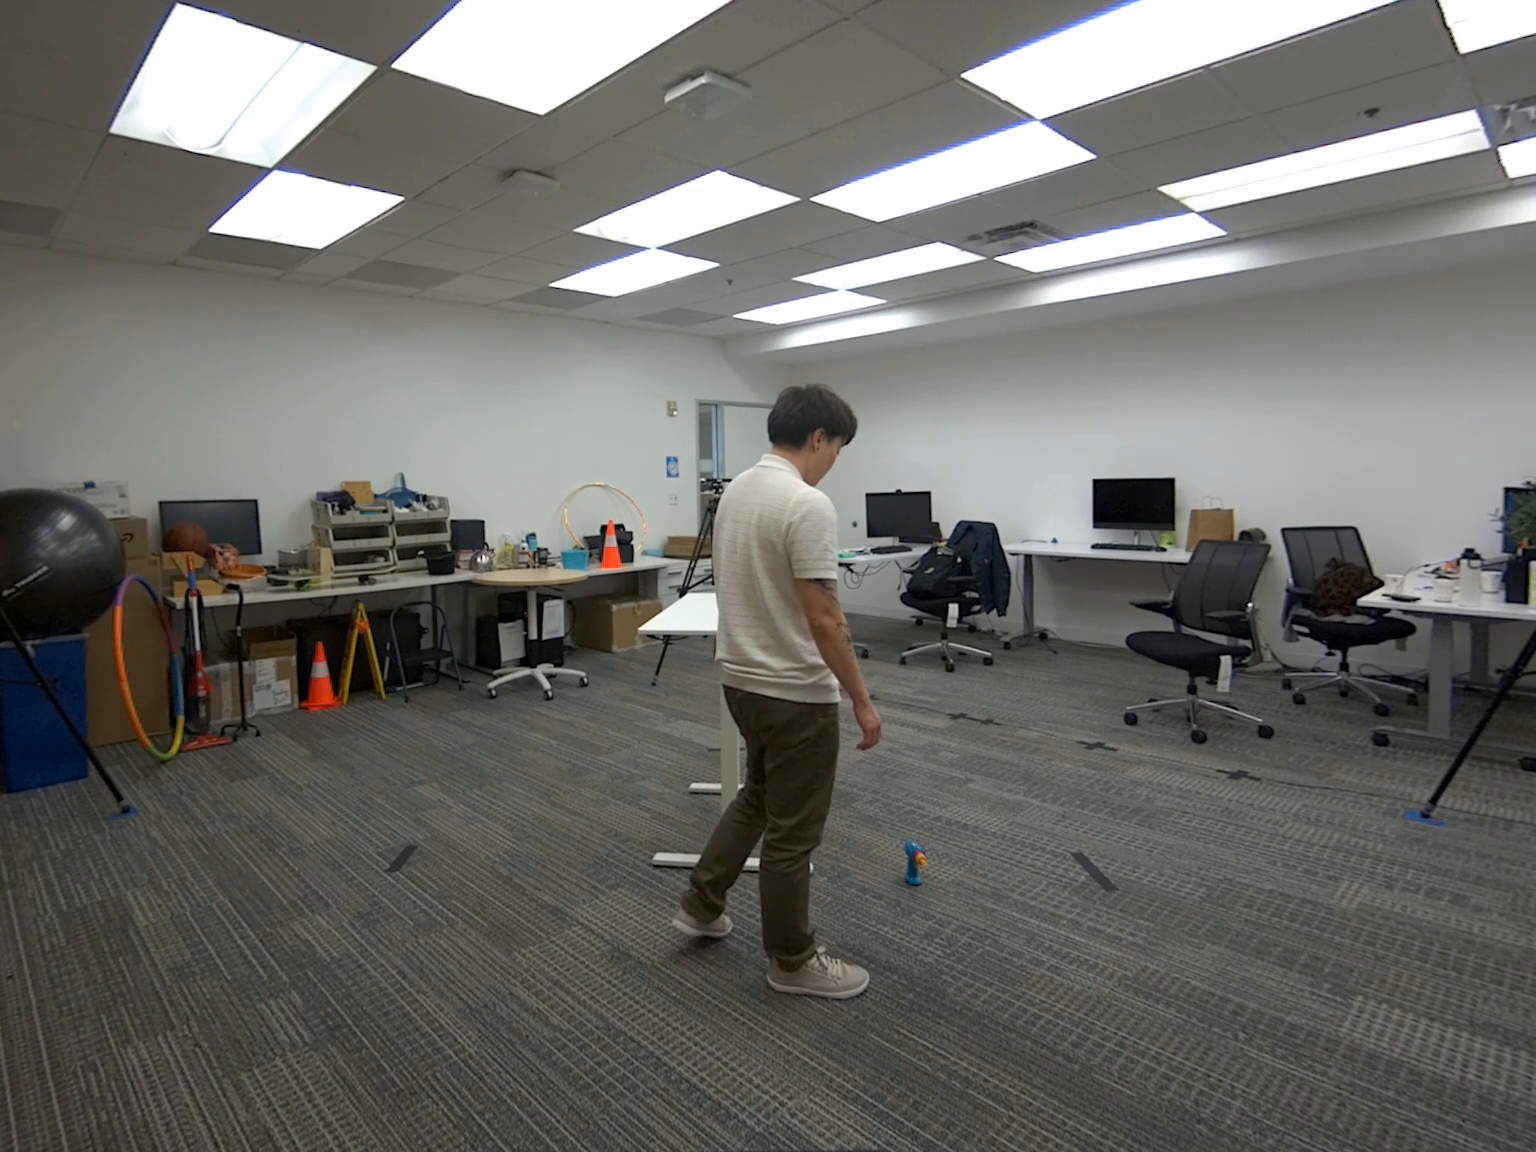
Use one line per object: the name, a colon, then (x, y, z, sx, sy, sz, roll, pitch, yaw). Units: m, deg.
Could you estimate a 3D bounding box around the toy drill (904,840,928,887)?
toy drill: (0.511, 0.985, 2.899, 0.061, 0.145, 0.171, -3, 5, -8)
